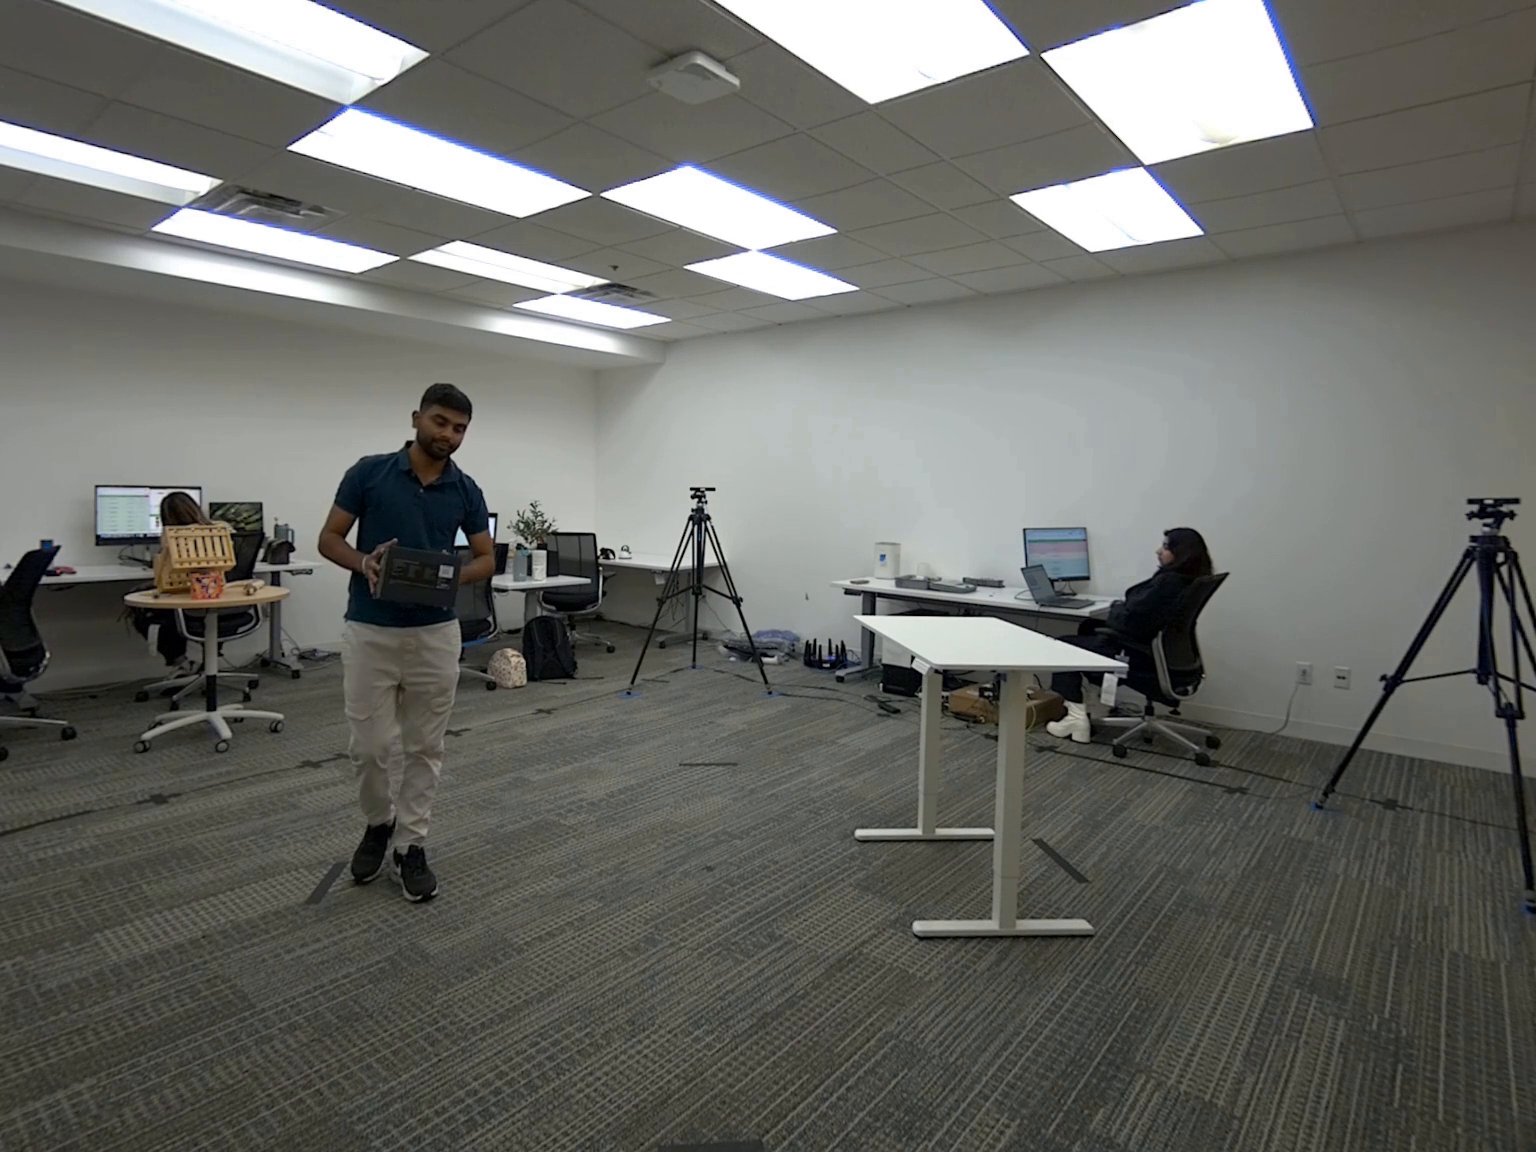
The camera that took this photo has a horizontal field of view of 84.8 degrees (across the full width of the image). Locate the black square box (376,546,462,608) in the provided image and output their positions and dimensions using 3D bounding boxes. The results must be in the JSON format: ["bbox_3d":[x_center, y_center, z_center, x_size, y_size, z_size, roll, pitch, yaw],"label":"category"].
[{"bbox_3d":[-1.096,0.003,2.626,0.211,0.156,0.233,9,-5,-26],"label":"black square box"}]
